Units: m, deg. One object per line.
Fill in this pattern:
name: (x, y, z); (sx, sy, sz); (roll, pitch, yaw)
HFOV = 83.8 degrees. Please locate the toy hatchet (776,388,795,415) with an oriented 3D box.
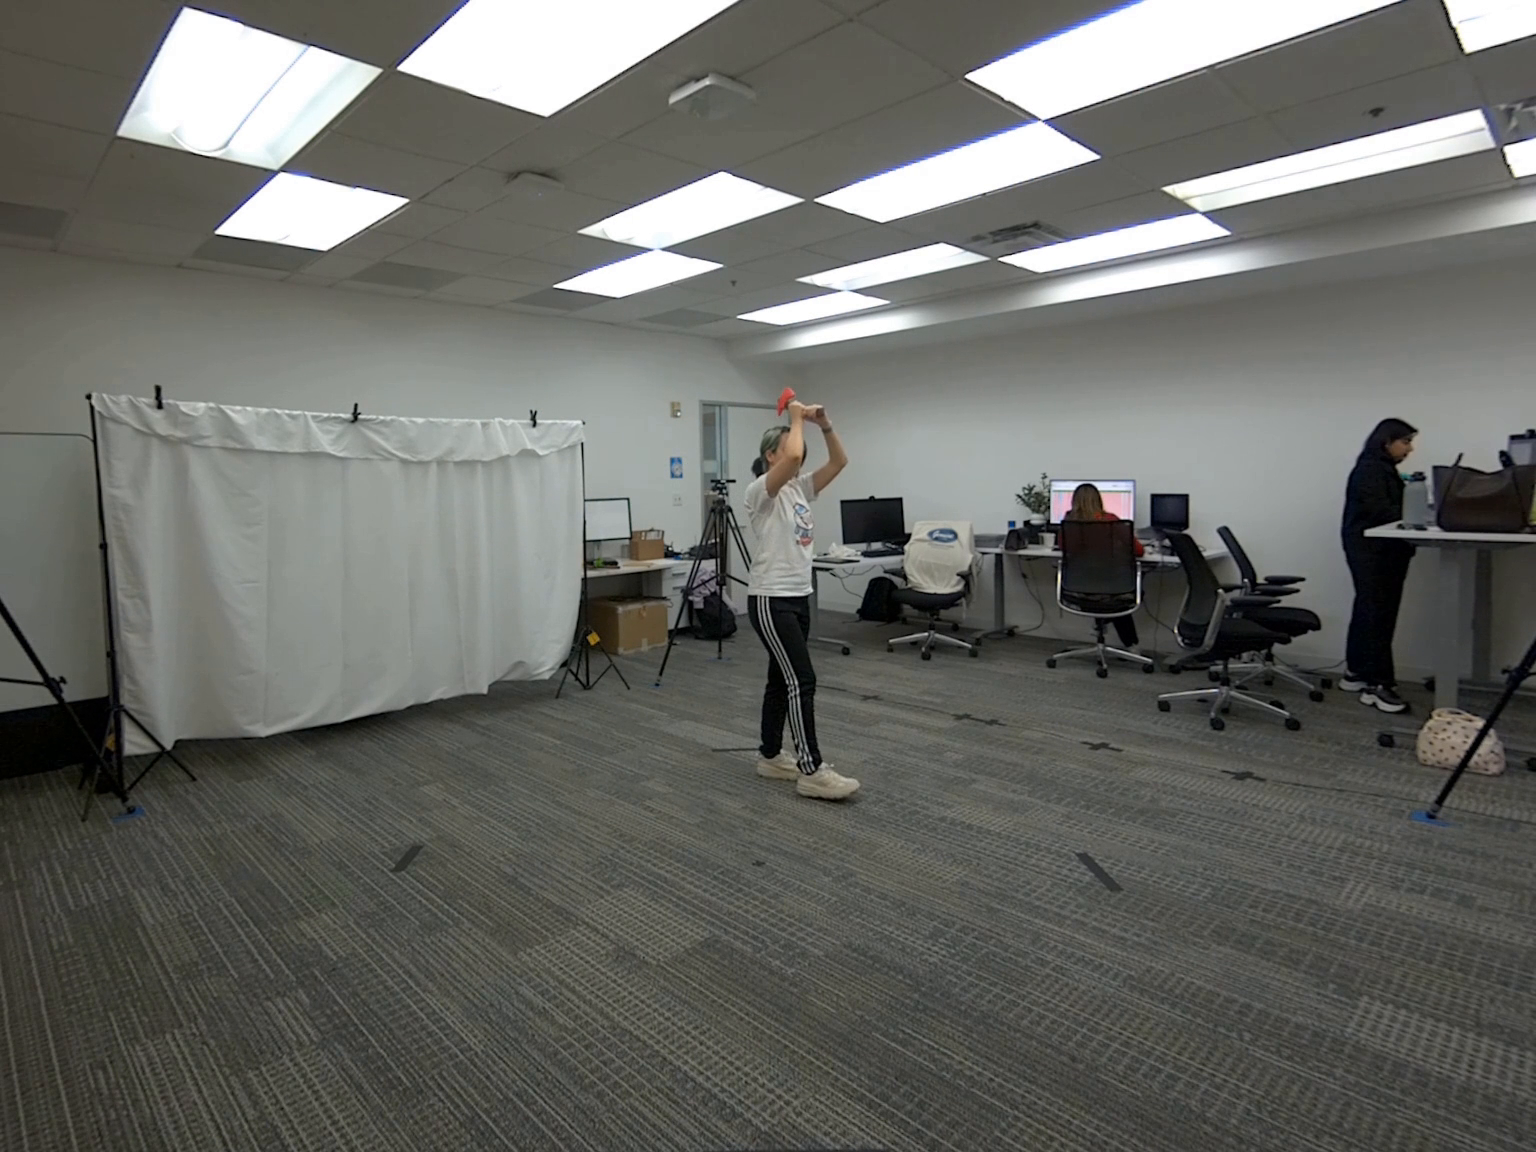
toy hatchet: (0.148, -0.779, 3.809); (0.279, 0.130, 0.029); (10, 8, 42)
